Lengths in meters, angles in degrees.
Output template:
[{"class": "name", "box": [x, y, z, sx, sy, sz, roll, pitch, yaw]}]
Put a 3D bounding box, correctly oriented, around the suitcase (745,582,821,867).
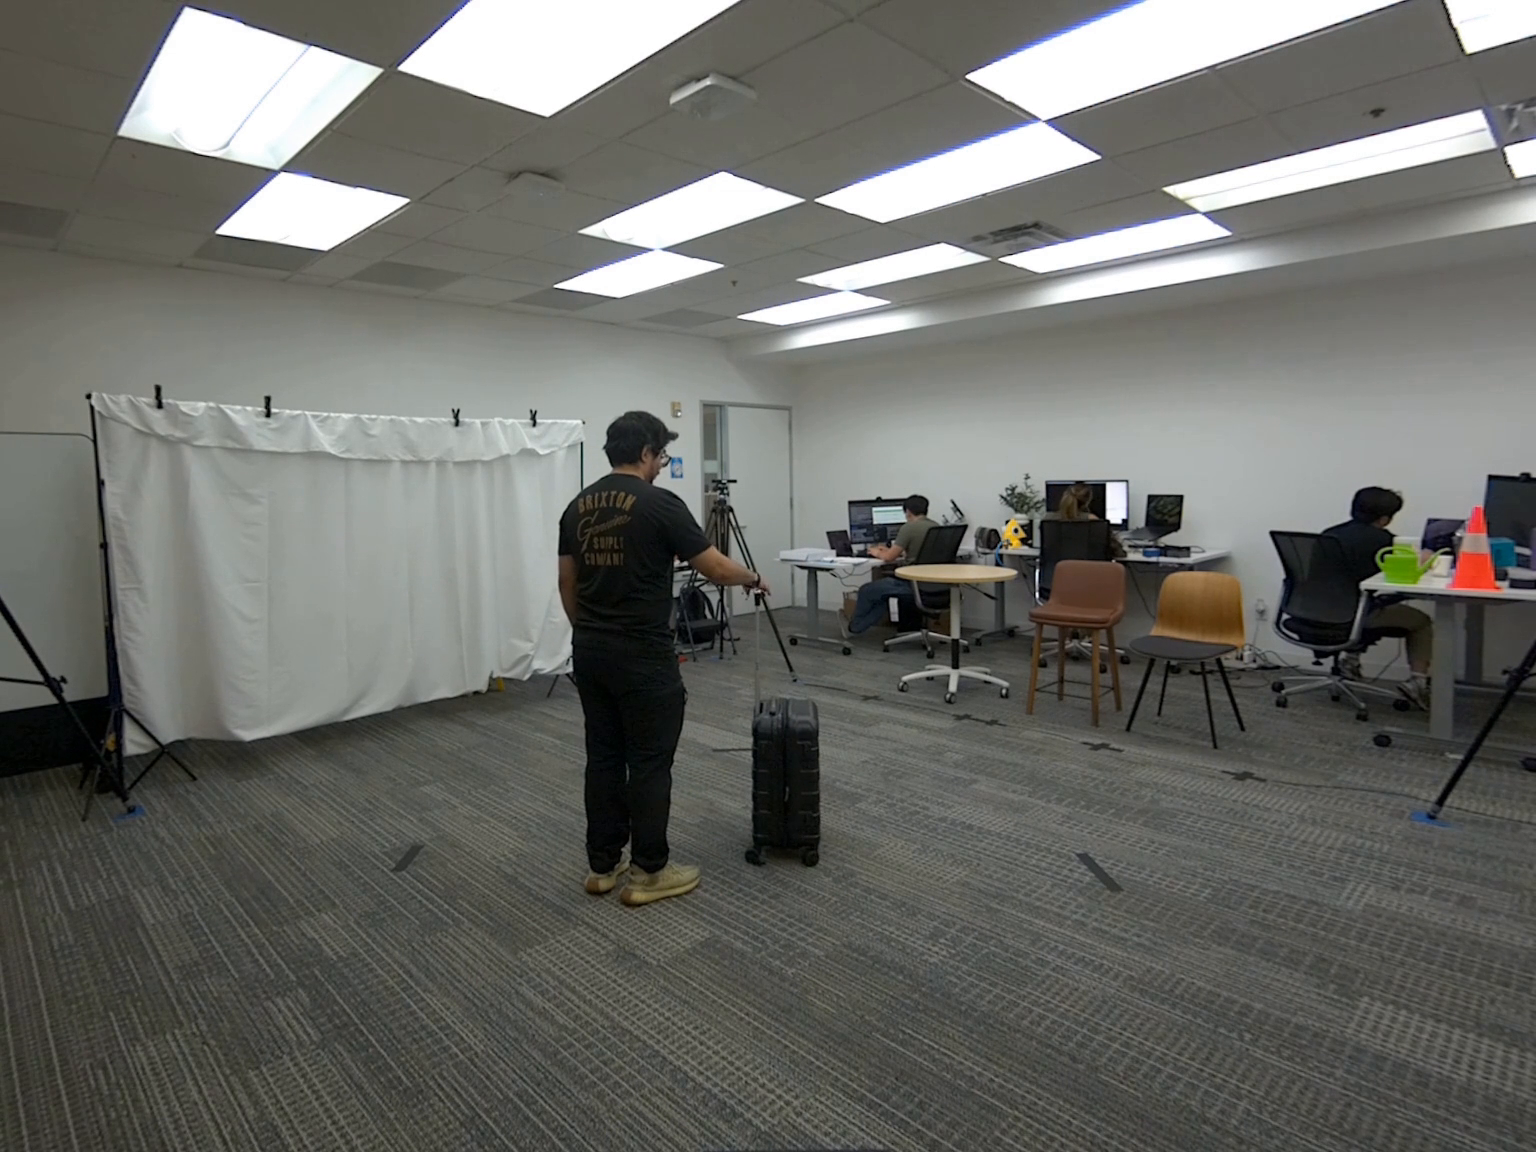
[{"class": "suitcase", "box": [0.072, 0.554, 3.240, 0.258, 0.976, 0.384, 1, 4, 3]}]
